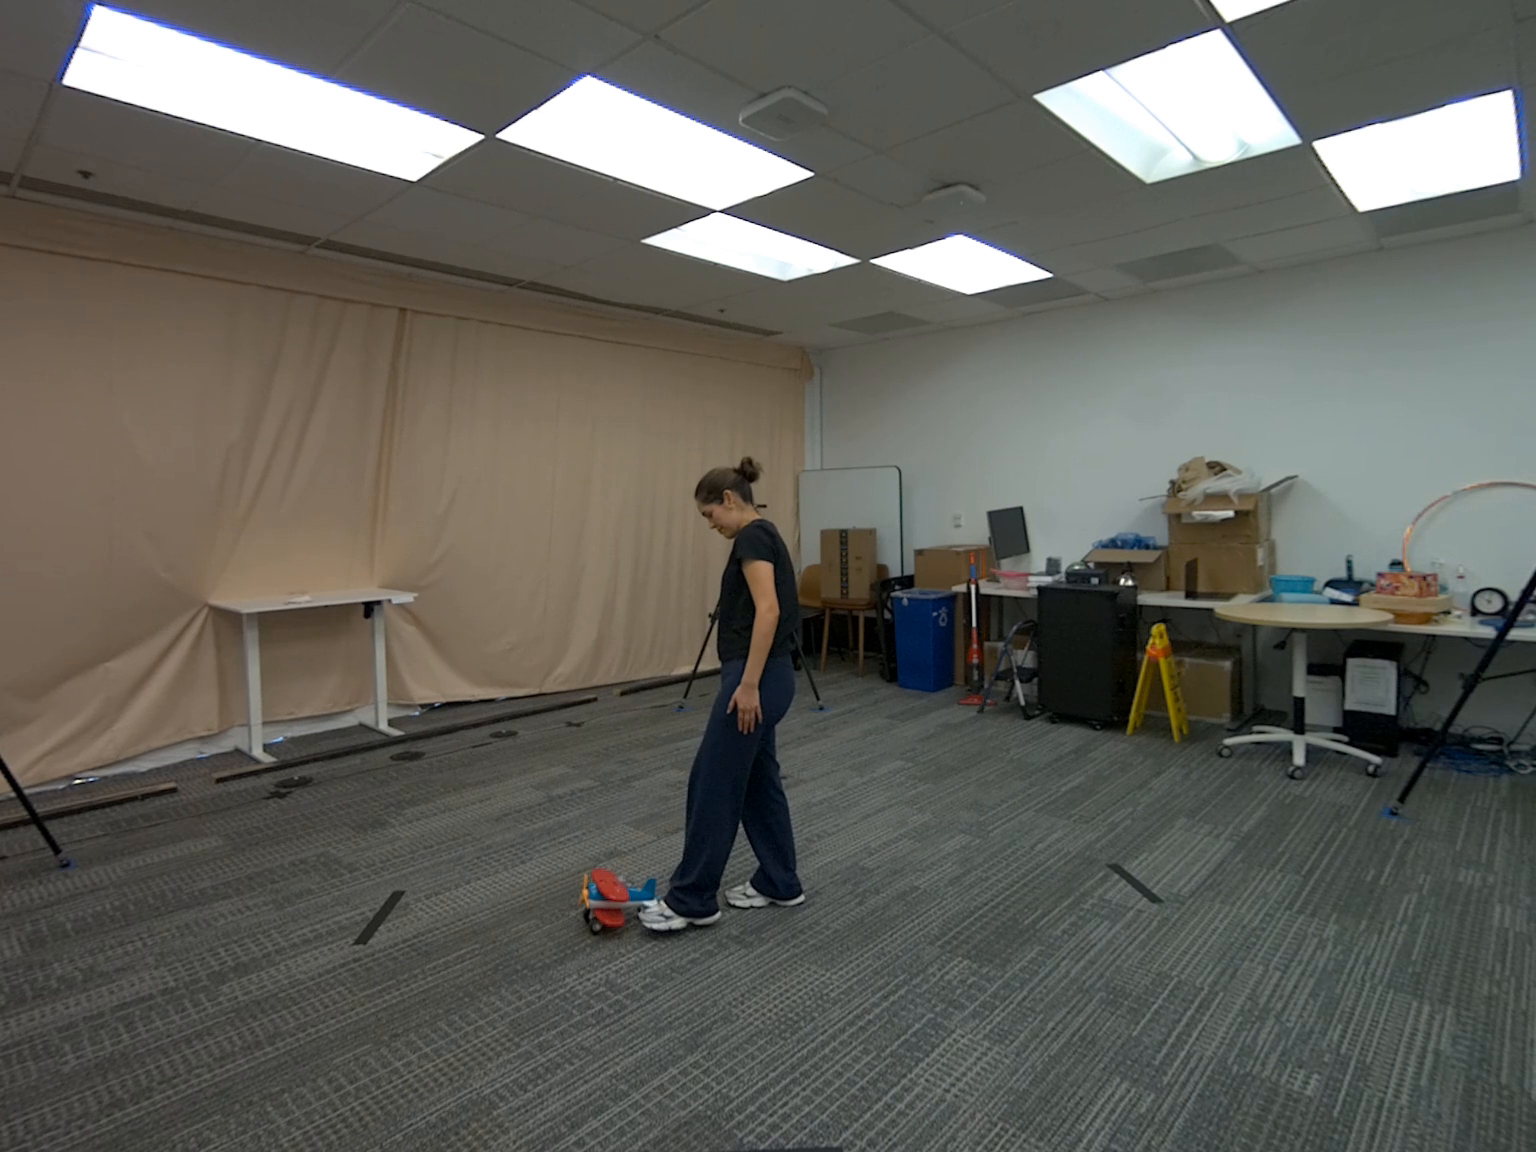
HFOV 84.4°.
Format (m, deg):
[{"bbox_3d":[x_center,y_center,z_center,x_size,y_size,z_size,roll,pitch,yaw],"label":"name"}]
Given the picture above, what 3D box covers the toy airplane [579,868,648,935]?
[{"bbox_3d":[-0.494,1.091,2.839,0.259,0.156,0.252,3,6,37],"label":"toy airplane"}]
